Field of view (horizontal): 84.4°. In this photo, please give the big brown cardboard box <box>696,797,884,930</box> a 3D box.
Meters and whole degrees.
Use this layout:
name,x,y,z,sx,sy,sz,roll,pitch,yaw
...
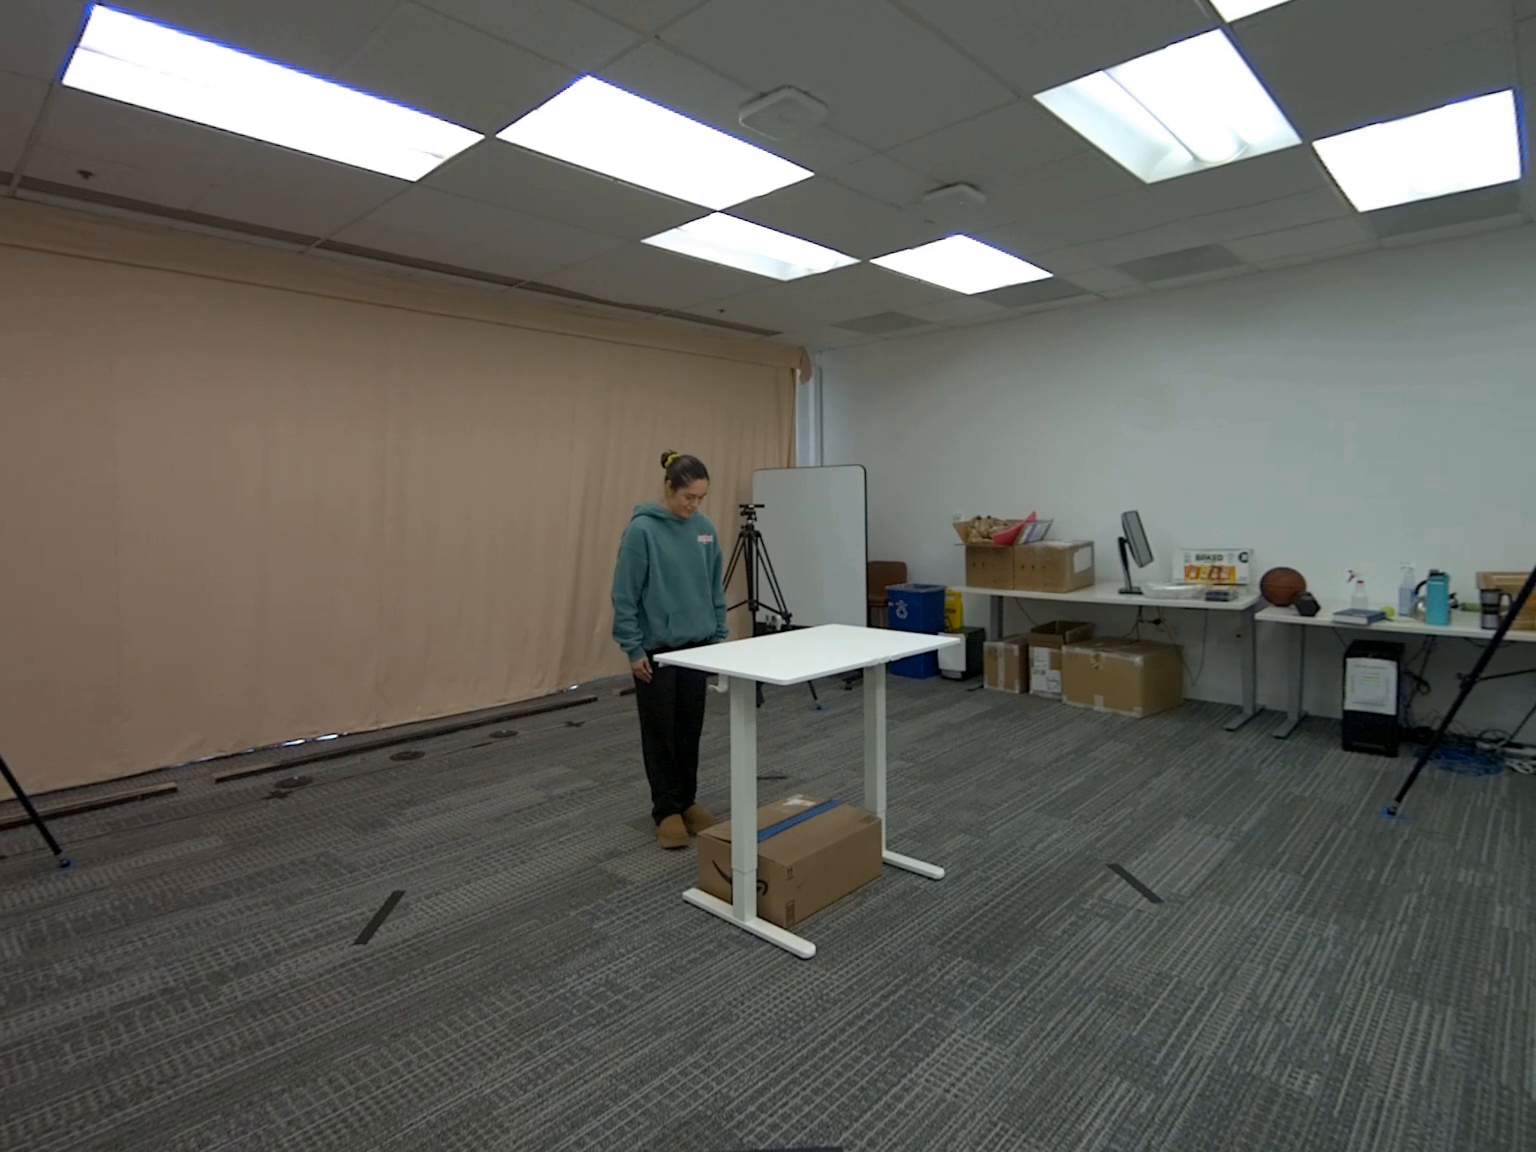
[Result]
name,x,y,z,sx,sy,sz,roll,pitch,yaw
big brown cardboard box,0.090,1.017,3.086,0.431,0.232,0.571,3,7,43
